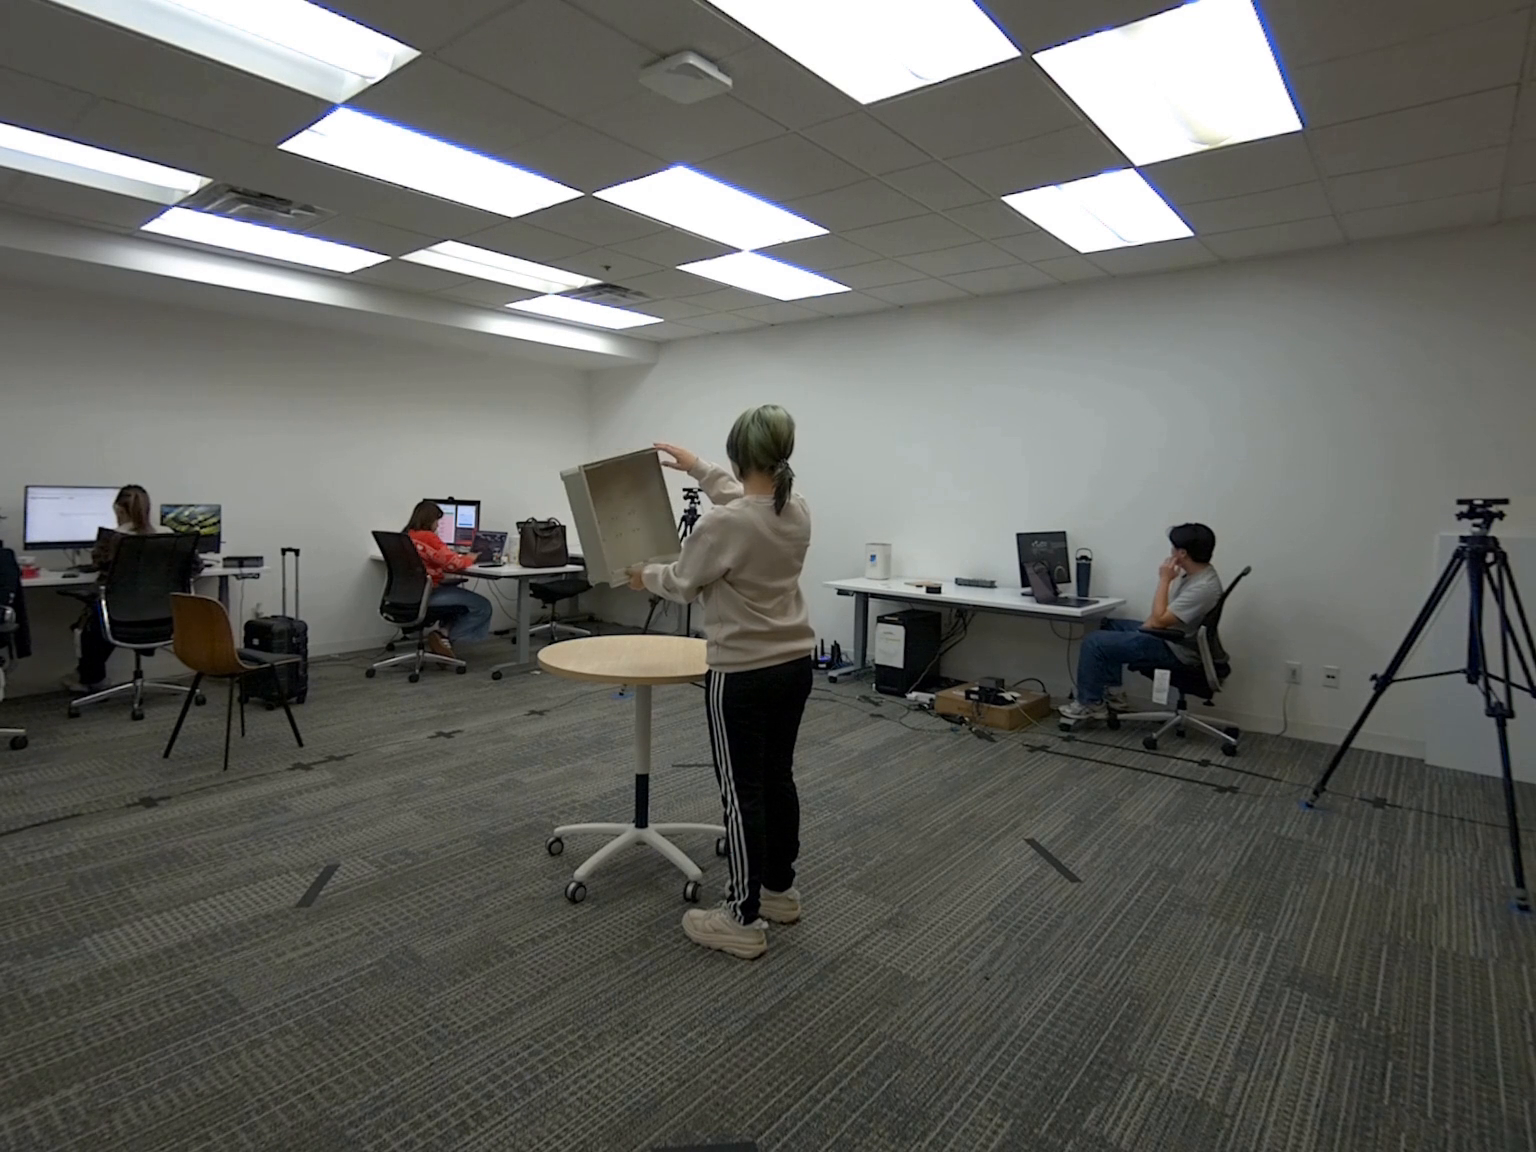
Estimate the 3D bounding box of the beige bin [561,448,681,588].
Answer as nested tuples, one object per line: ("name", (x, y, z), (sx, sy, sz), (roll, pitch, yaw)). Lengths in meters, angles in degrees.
("beige bin", (-0.497, -0.221, 2.989), (0.370, 0.418, 0.195), (-20, 12, -36))
